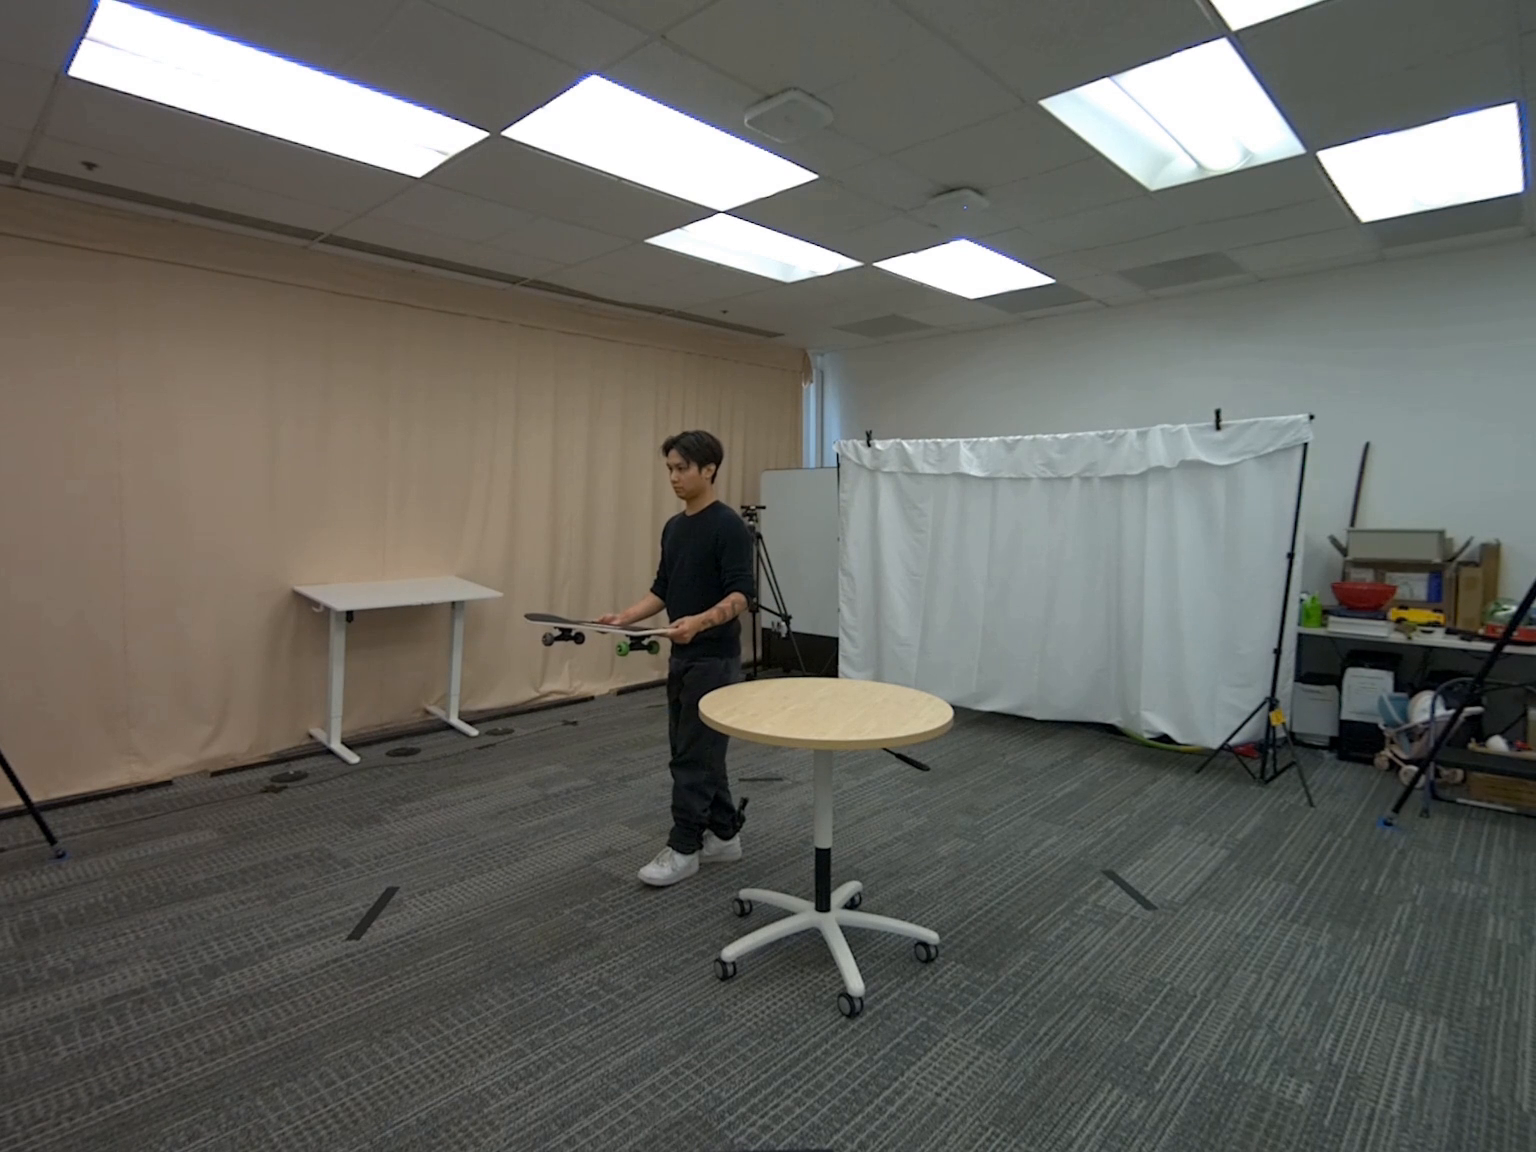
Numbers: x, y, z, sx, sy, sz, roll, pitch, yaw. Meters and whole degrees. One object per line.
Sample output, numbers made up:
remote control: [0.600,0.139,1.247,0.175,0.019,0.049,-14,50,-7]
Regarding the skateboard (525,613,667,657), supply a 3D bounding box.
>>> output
skateboard: [-0.607,0.218,3.084,0.811,0.110,0.187,3,-2,38]
